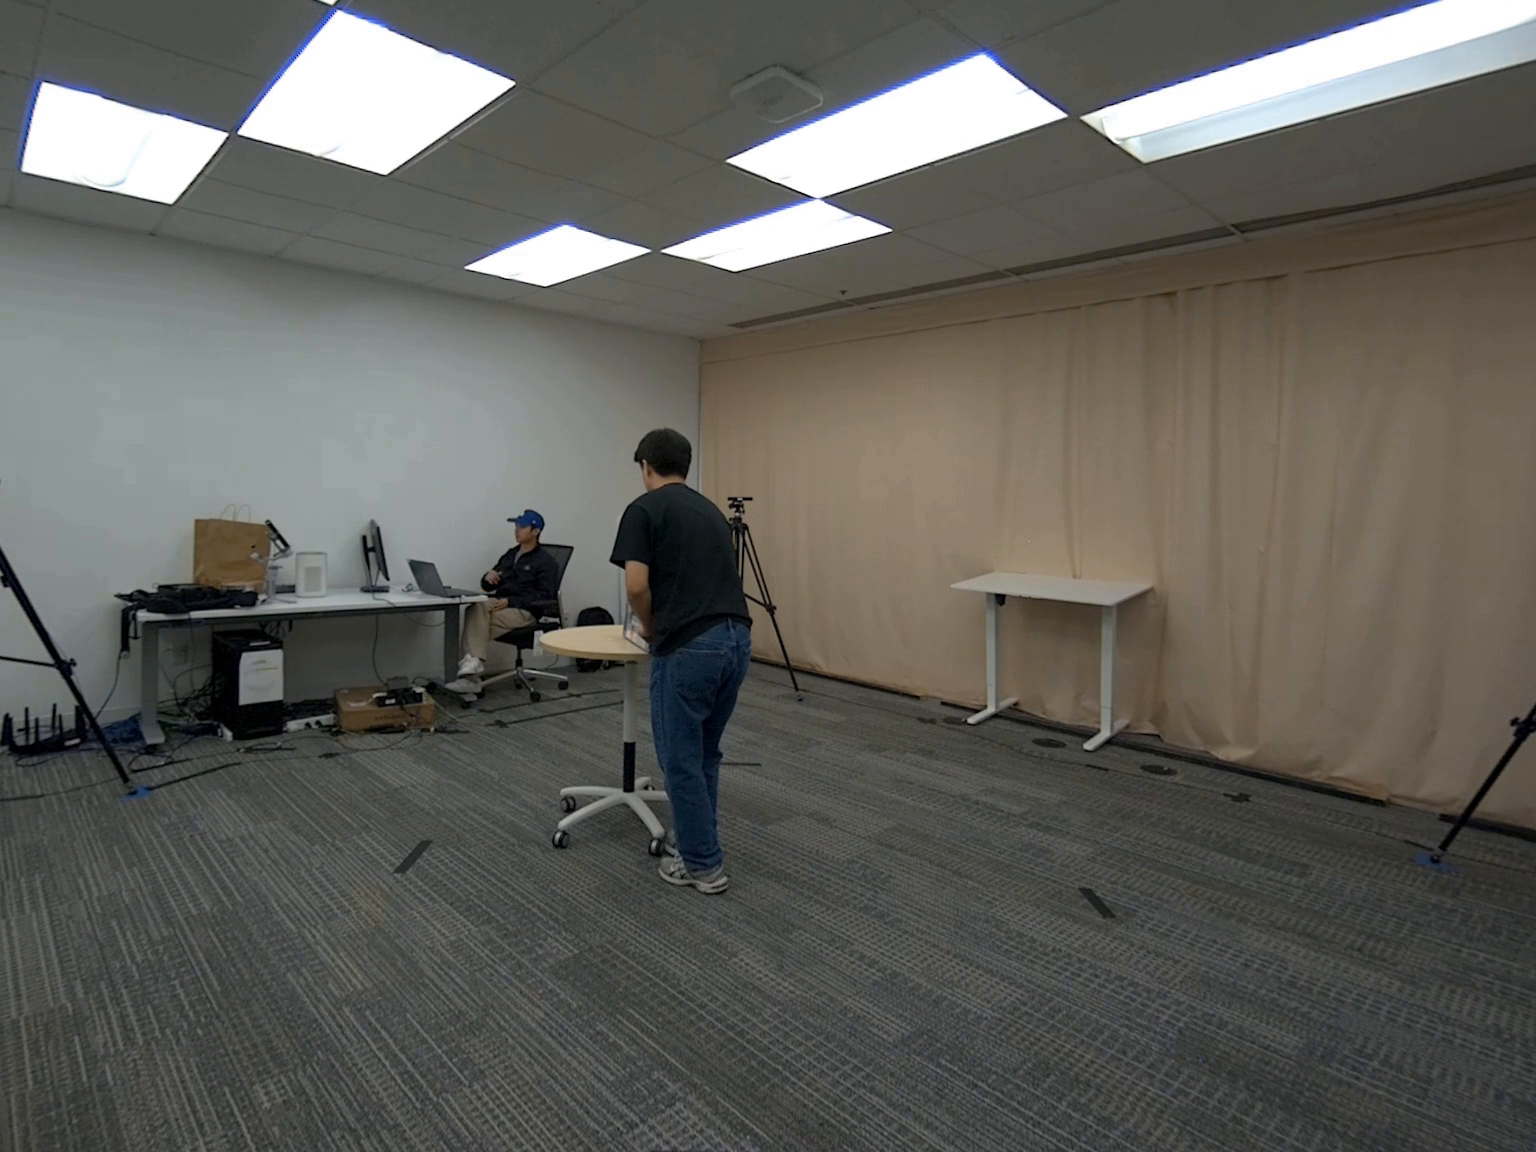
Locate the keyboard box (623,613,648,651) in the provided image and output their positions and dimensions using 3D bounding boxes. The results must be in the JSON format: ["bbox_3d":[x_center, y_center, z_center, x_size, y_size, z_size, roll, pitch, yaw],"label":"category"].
[{"bbox_3d":[-0.502,0.196,3.383,0.058,0.176,0.444,5,3,-21],"label":"keyboard box"}]
